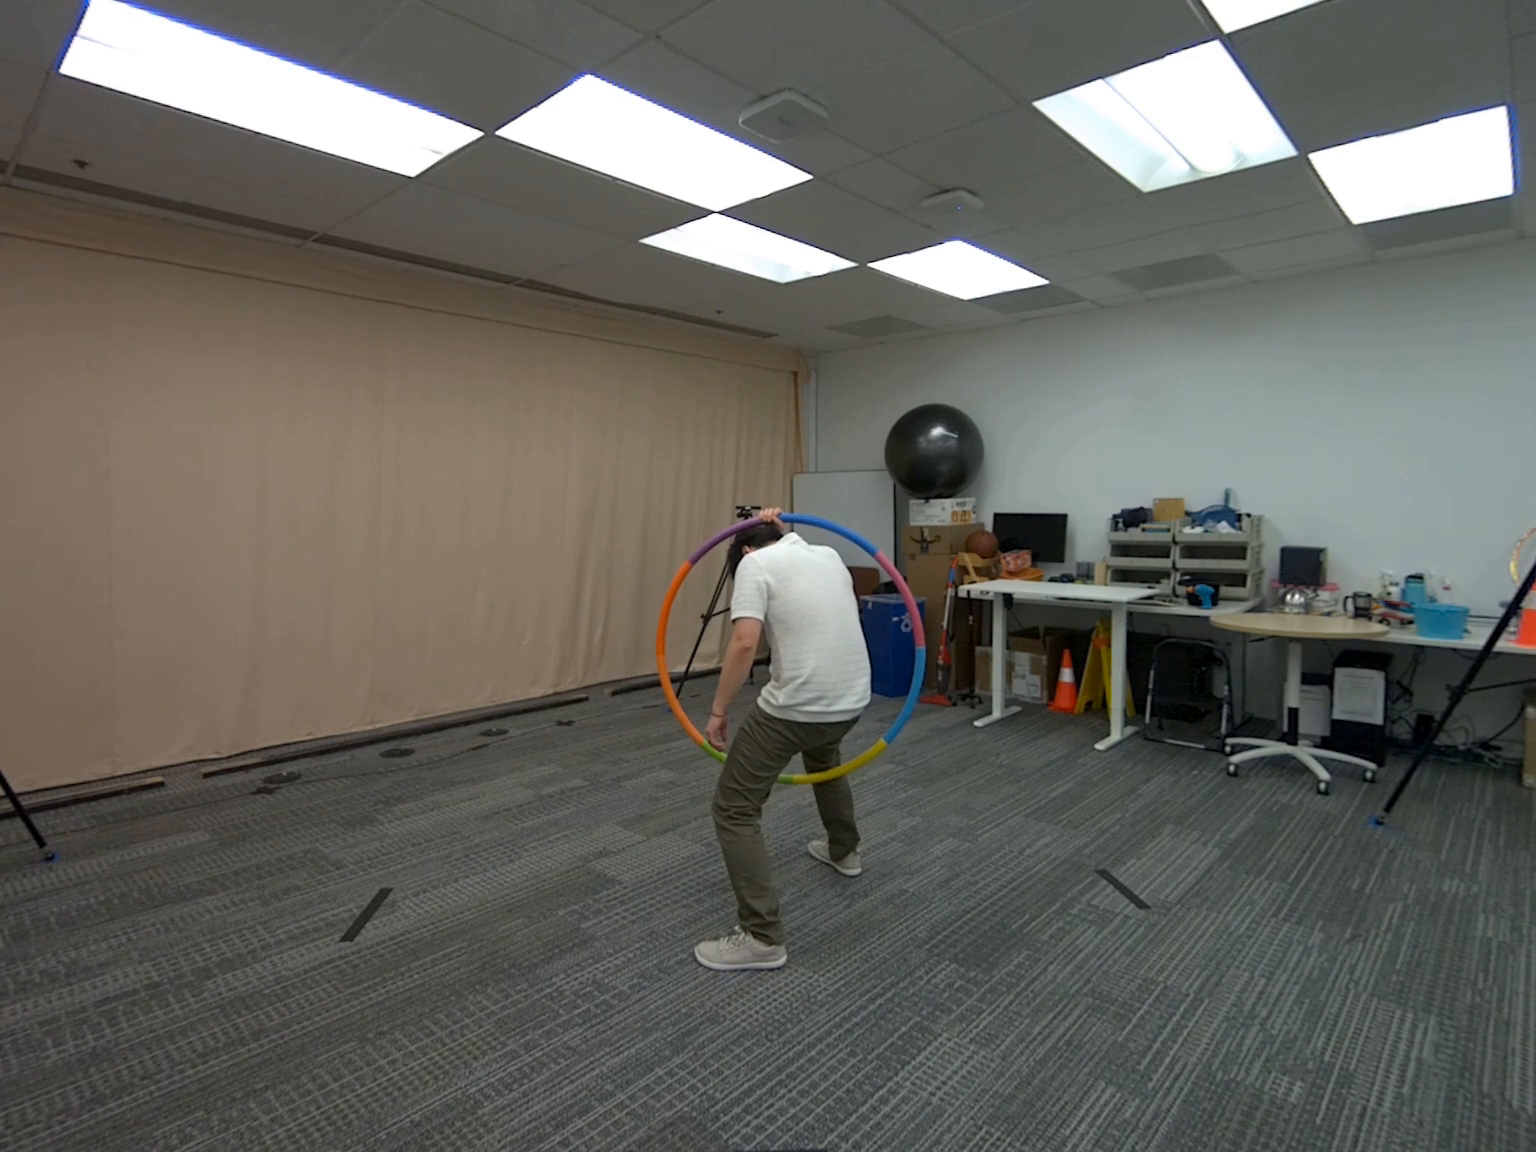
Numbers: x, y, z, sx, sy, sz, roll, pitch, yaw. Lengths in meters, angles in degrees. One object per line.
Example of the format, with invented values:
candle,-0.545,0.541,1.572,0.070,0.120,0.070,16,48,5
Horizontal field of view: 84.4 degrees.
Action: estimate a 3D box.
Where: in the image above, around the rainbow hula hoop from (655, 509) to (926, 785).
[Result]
rainbow hula hoop,0.069,0.263,3.067,0.990,0.976,0.035,1,3,11
